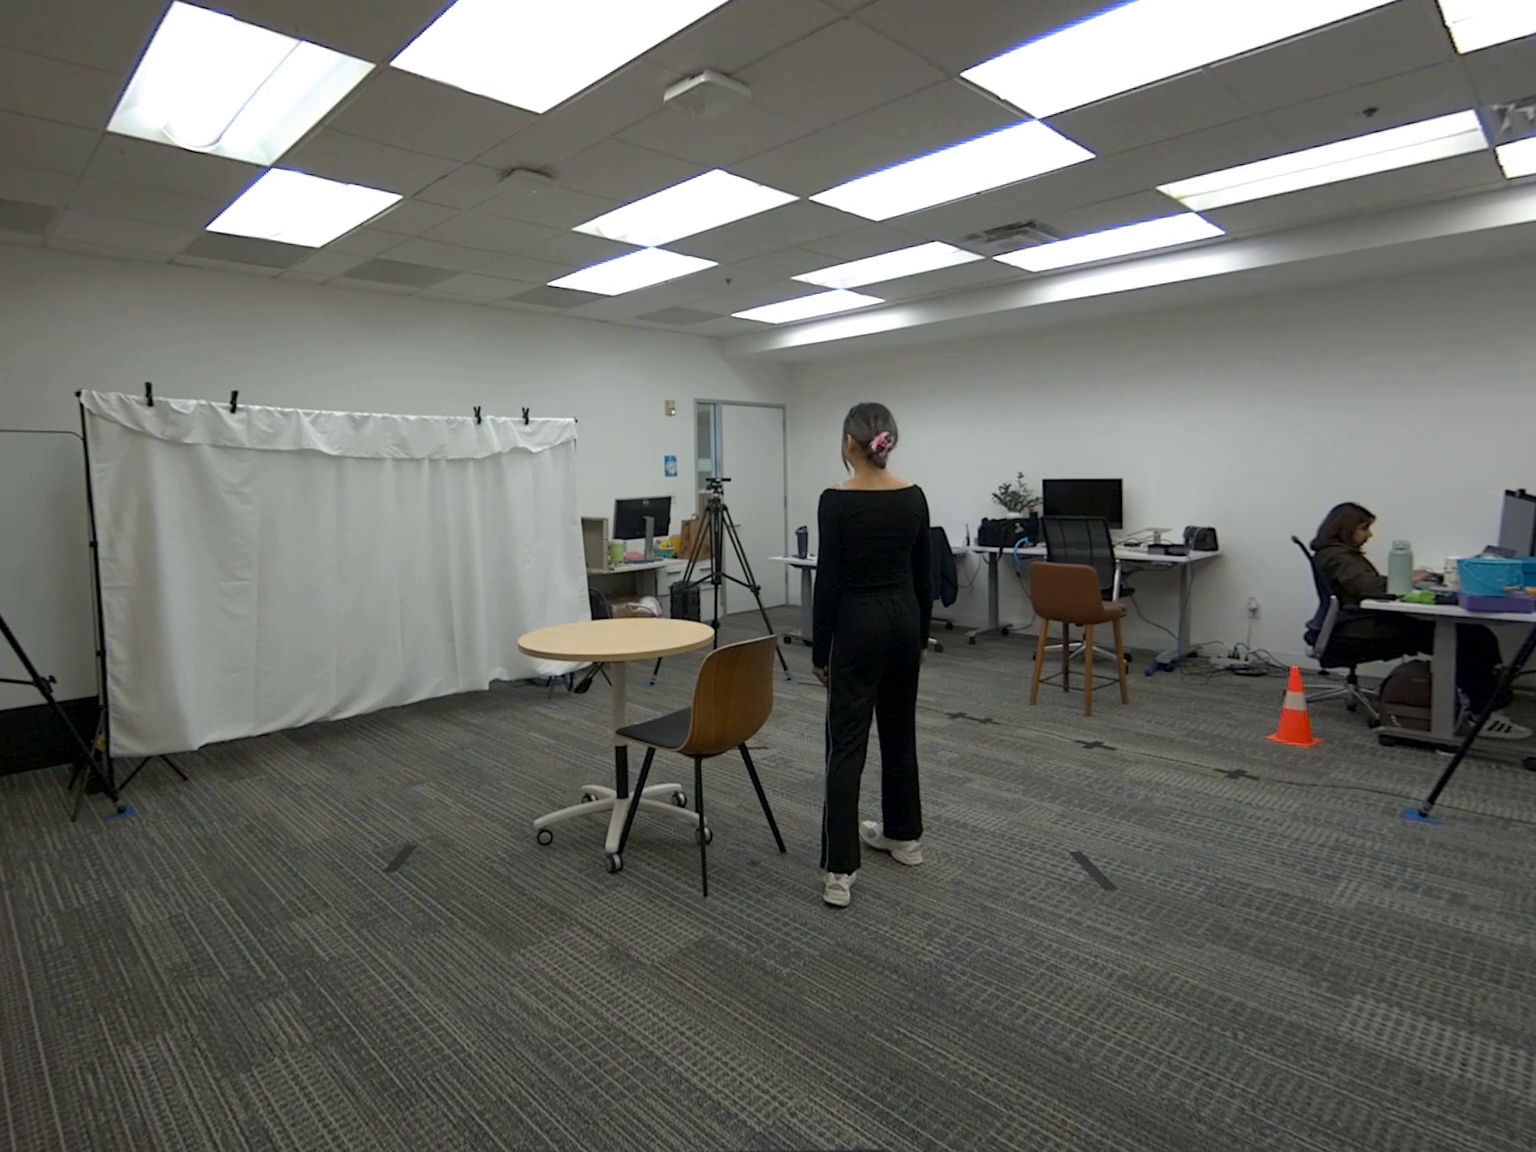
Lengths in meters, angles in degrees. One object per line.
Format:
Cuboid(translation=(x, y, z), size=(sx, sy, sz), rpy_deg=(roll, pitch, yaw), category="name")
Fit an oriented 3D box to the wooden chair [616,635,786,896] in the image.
Cuboid(translation=(-0.260, 0.612, 3.139), size=(0.540, 0.872, 0.466), rpy_deg=(9, 10, 39), category="wooden chair")
